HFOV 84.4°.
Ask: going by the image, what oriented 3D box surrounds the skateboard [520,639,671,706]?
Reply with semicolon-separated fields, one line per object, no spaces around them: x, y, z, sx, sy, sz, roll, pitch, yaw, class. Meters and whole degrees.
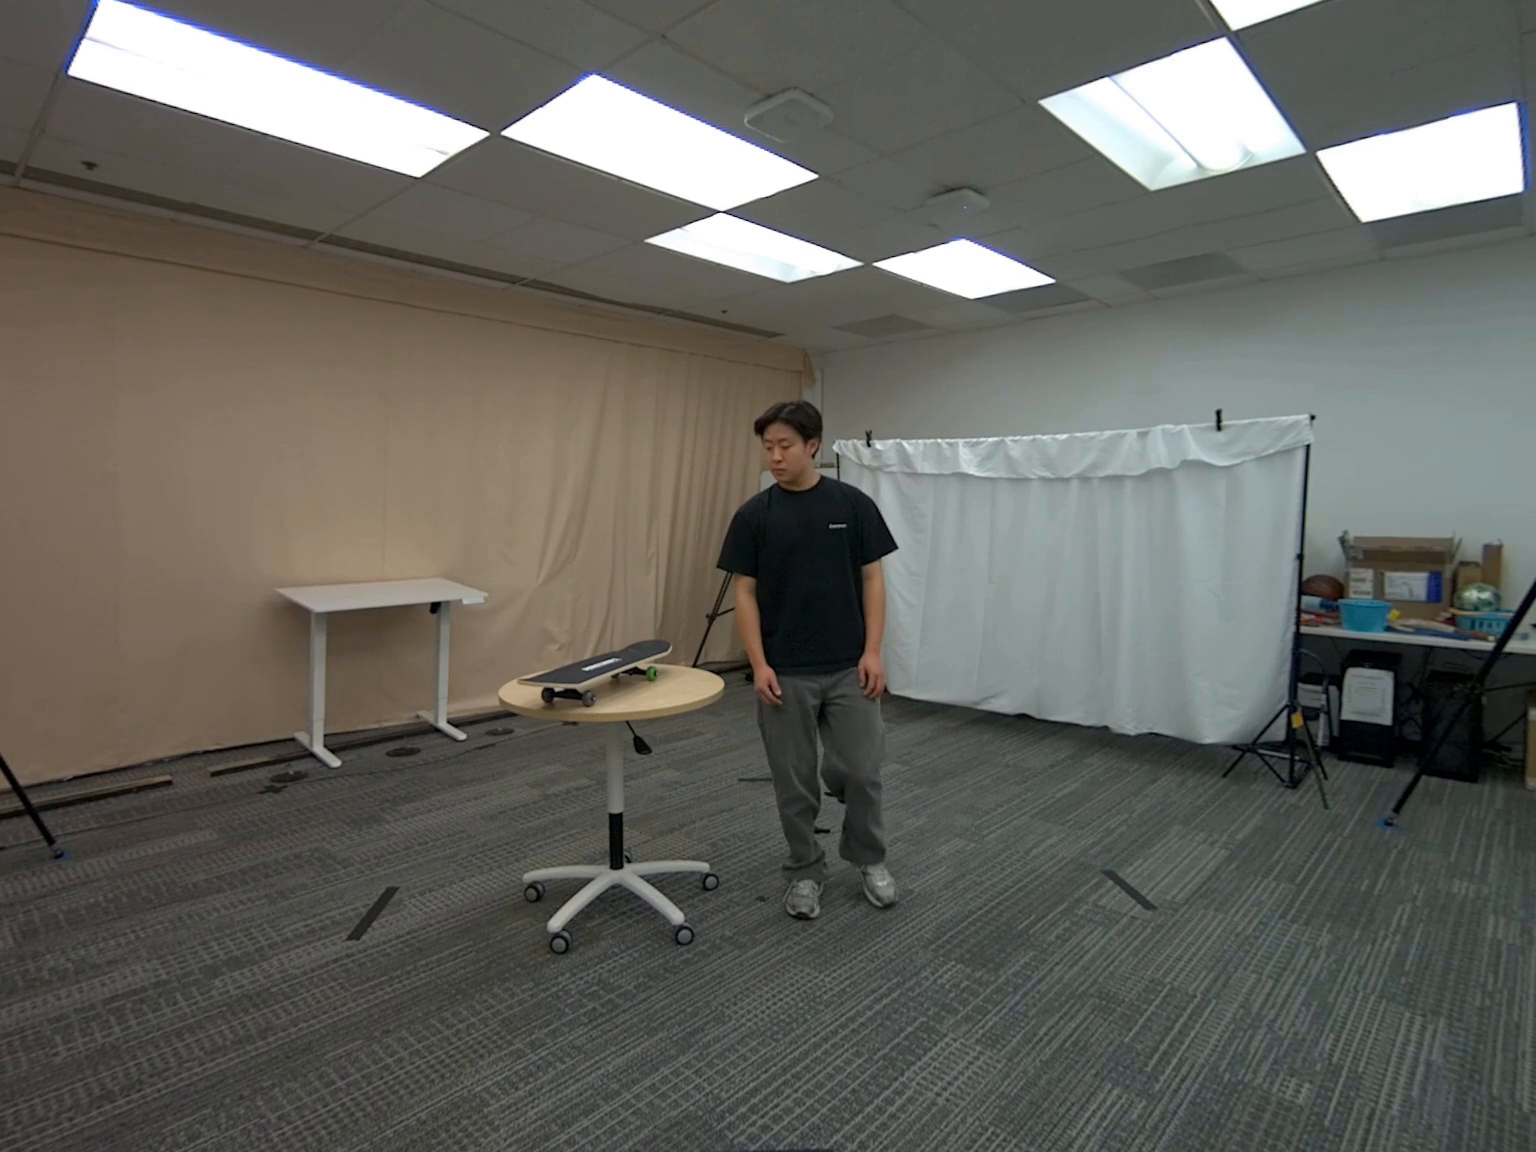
-0.554;0.337;2.801;0.198;0.110;0.768;1;5;22;skateboard
